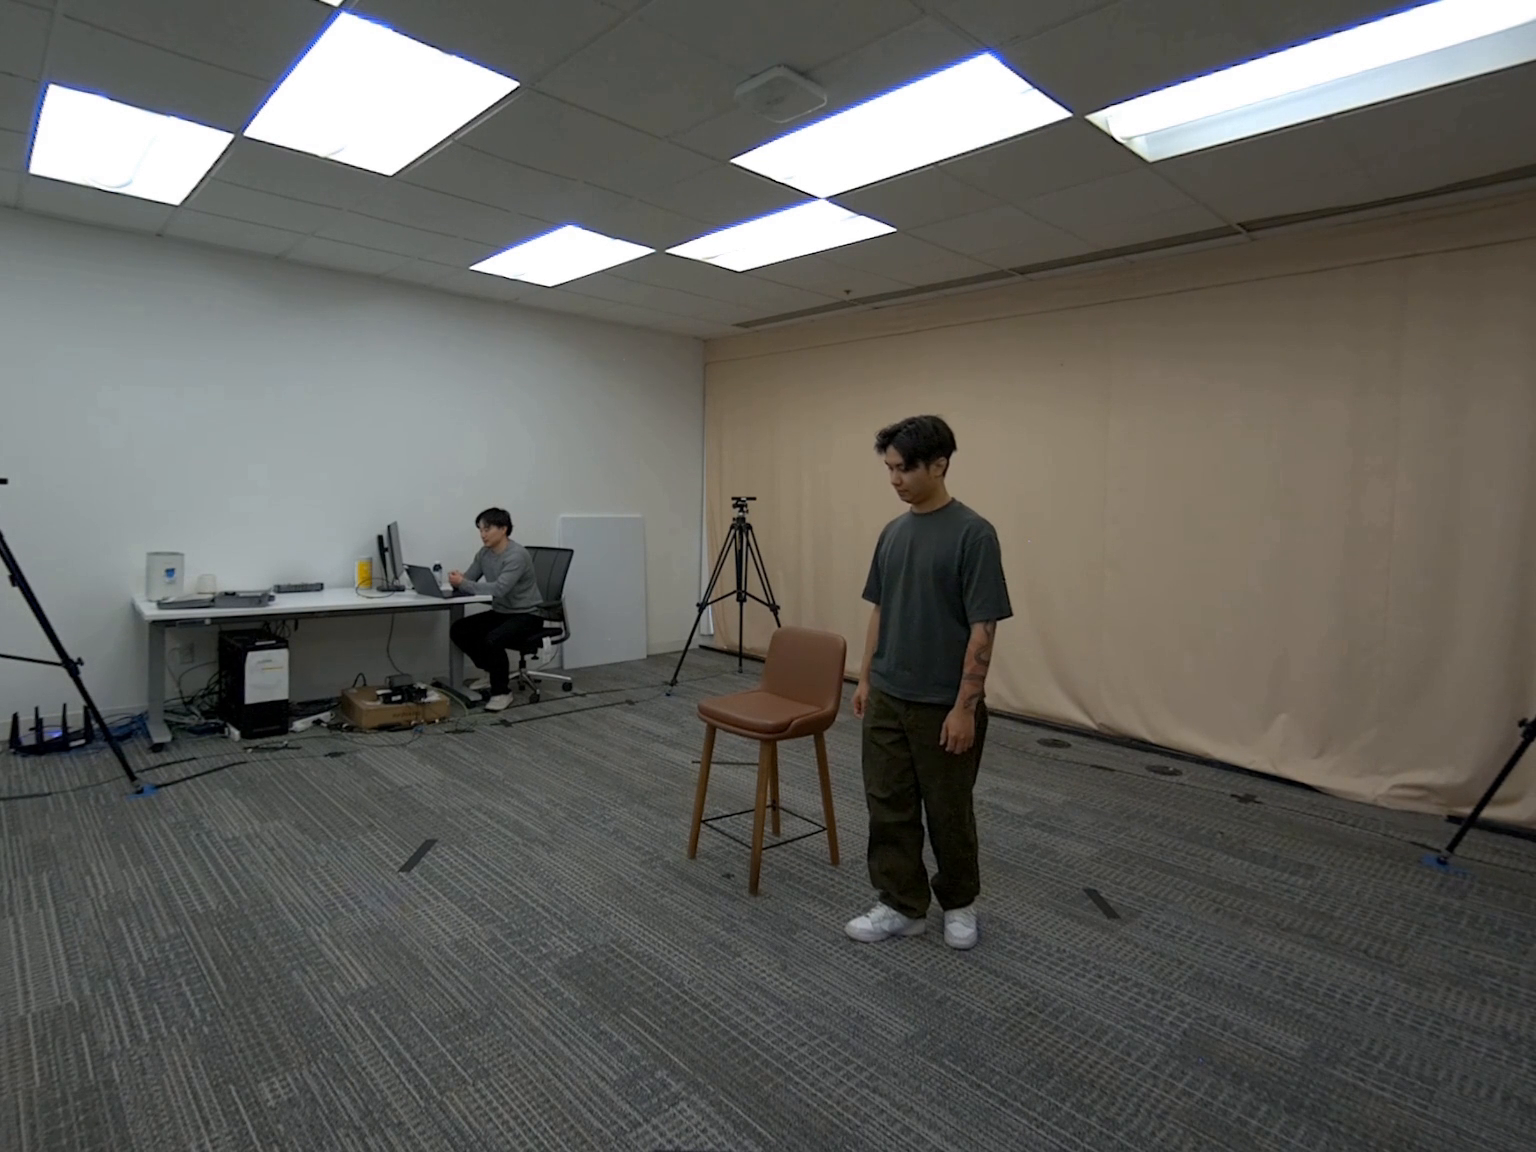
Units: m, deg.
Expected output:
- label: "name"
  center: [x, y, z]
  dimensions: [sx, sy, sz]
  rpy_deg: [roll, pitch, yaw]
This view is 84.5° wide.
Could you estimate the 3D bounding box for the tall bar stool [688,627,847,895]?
- label: "tall bar stool"
  center: [-0.004, 0.664, 3.220]
  dimensions: [0.456, 0.889, 0.468]
  rpy_deg: [1, 2, -39]
